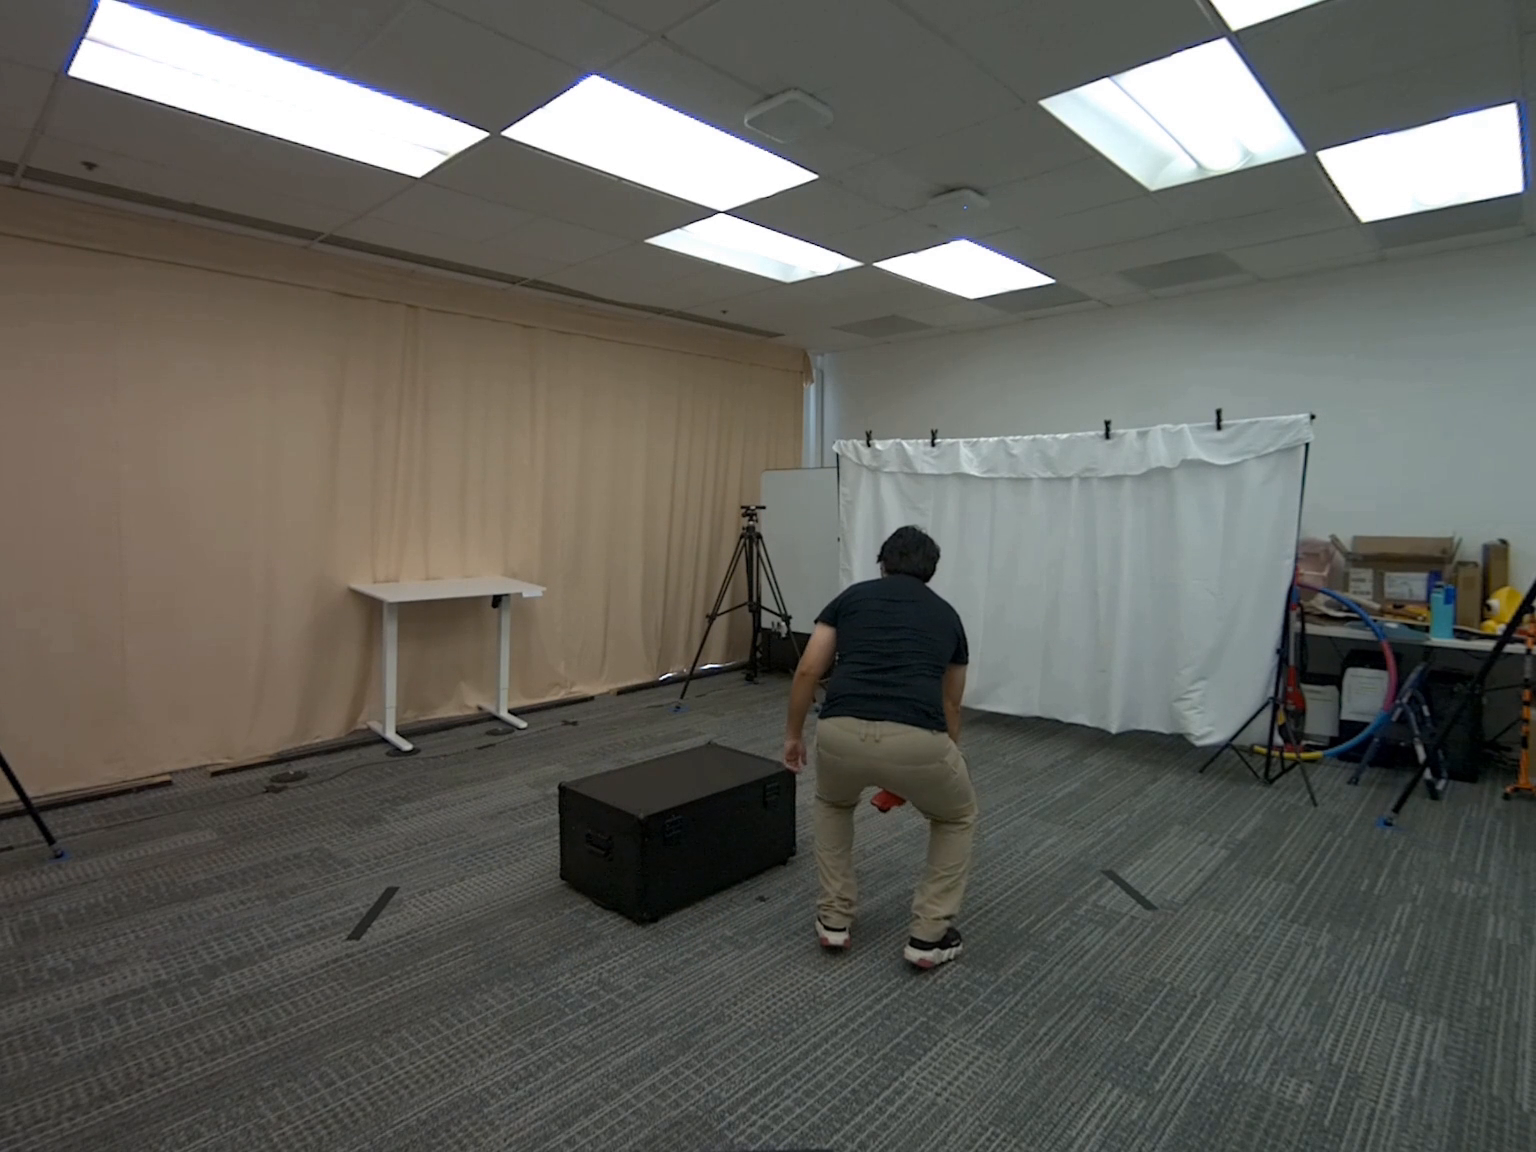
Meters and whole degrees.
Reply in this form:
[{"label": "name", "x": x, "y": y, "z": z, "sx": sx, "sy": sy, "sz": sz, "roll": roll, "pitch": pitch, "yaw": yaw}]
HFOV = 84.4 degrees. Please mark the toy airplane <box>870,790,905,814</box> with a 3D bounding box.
[{"label": "toy airplane", "x": 0.517, "y": 0.775, "z": 3.036, "sx": 0.264, "sy": 0.156, "sz": 0.246, "roll": -8, "pitch": 3, "yaw": 21}]
